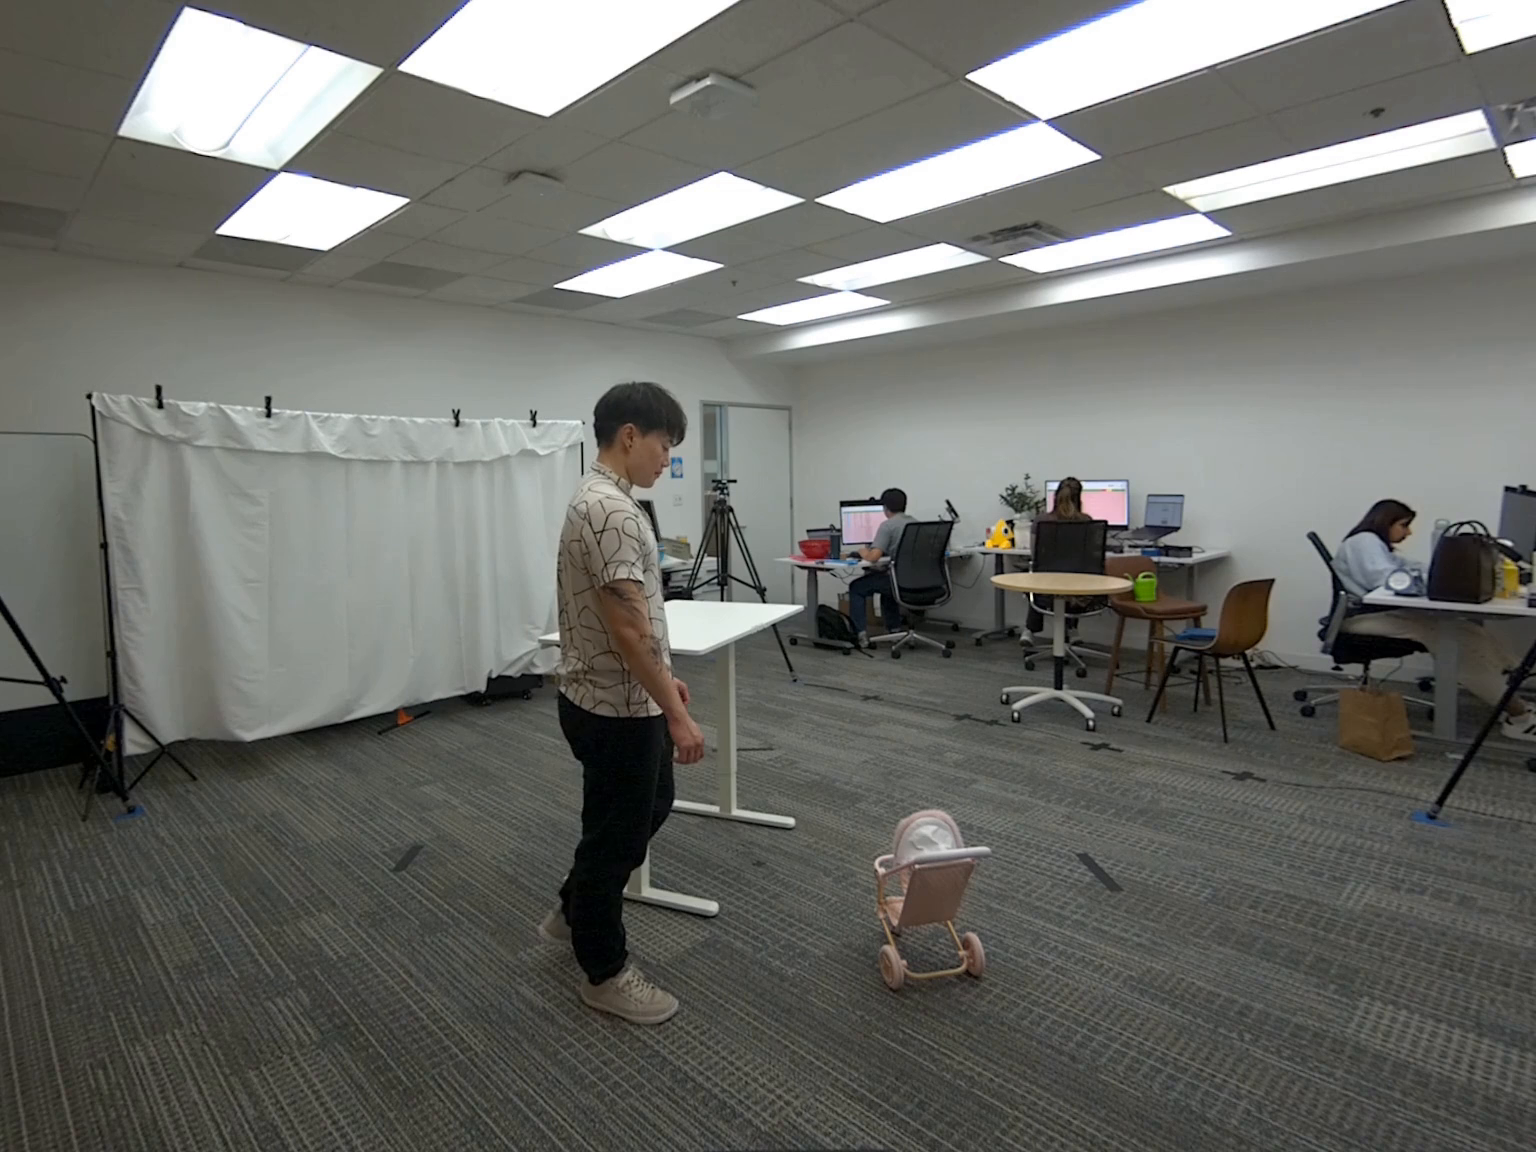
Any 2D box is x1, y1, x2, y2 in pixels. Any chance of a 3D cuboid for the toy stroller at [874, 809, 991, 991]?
[{"bbox_3d":[0.448,0.890,2.425,0.279,0.526,0.350,-1,20,-11],"label":"toy stroller"}]
